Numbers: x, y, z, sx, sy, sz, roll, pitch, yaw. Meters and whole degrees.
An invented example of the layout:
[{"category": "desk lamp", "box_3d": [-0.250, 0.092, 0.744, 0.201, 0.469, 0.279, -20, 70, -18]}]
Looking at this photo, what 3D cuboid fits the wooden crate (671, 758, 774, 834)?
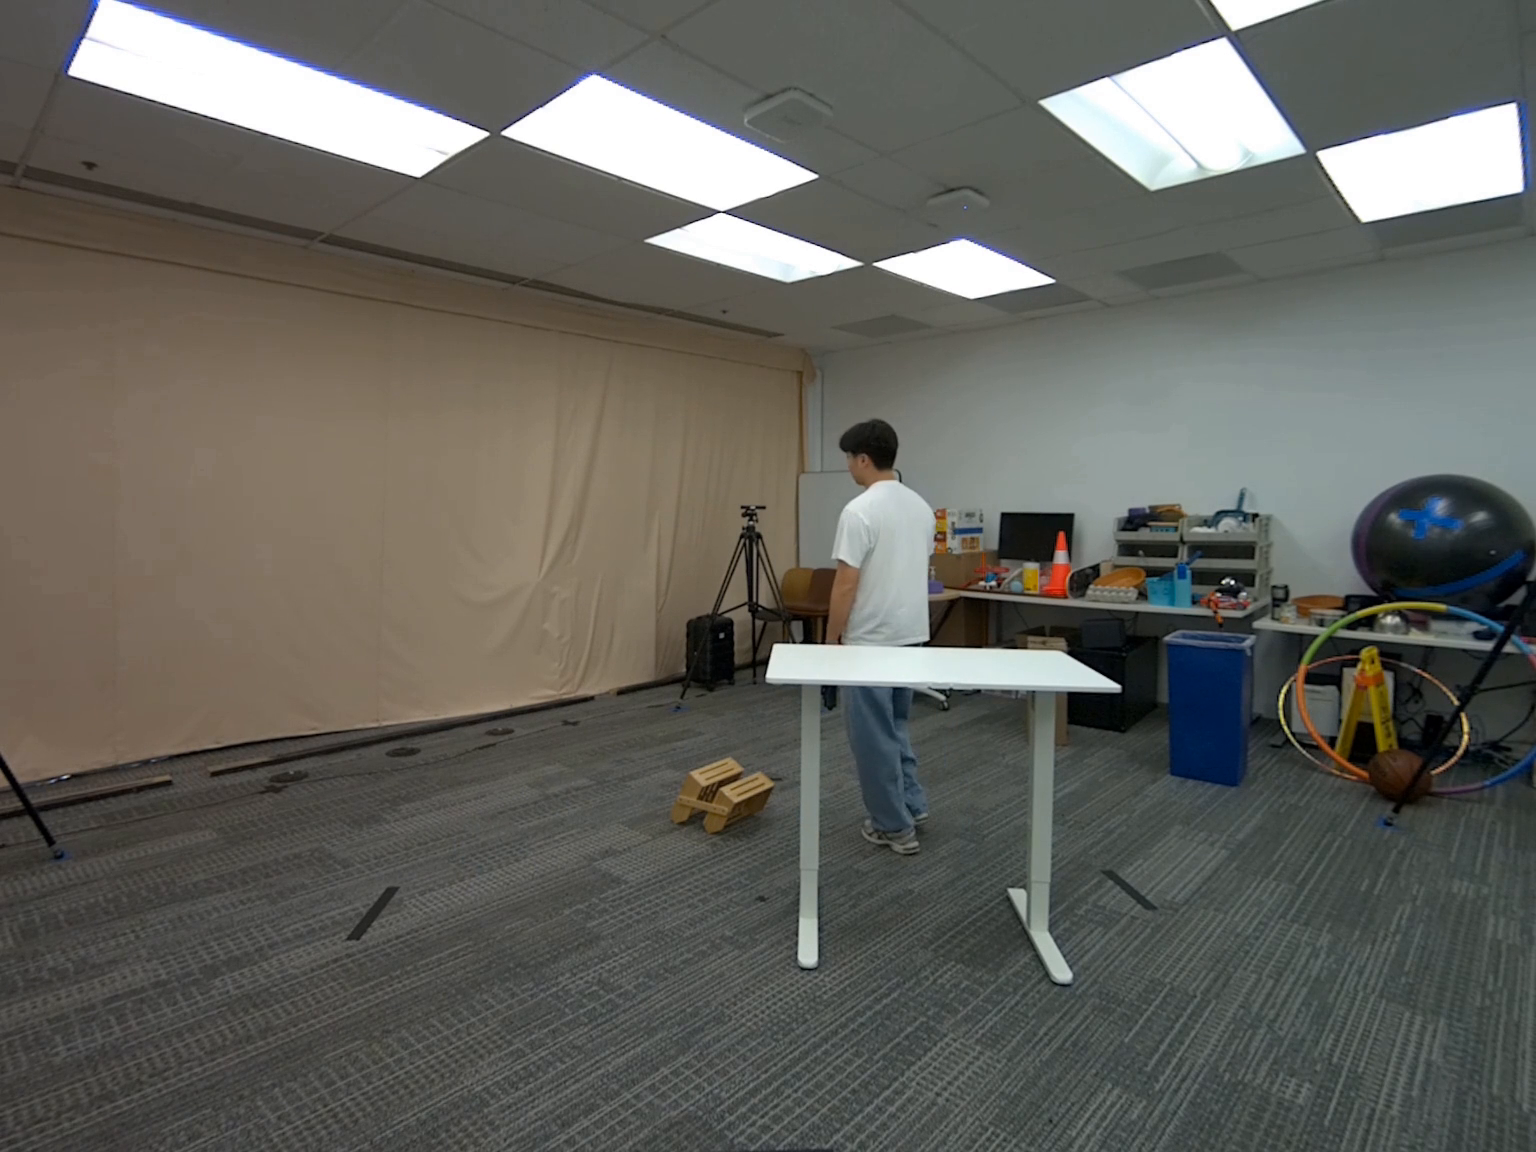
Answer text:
[{"category": "wooden crate", "box_3d": [-0.199, 0.999, 3.726, 0.282, 0.301, 0.315, 35, 22, 30]}]
